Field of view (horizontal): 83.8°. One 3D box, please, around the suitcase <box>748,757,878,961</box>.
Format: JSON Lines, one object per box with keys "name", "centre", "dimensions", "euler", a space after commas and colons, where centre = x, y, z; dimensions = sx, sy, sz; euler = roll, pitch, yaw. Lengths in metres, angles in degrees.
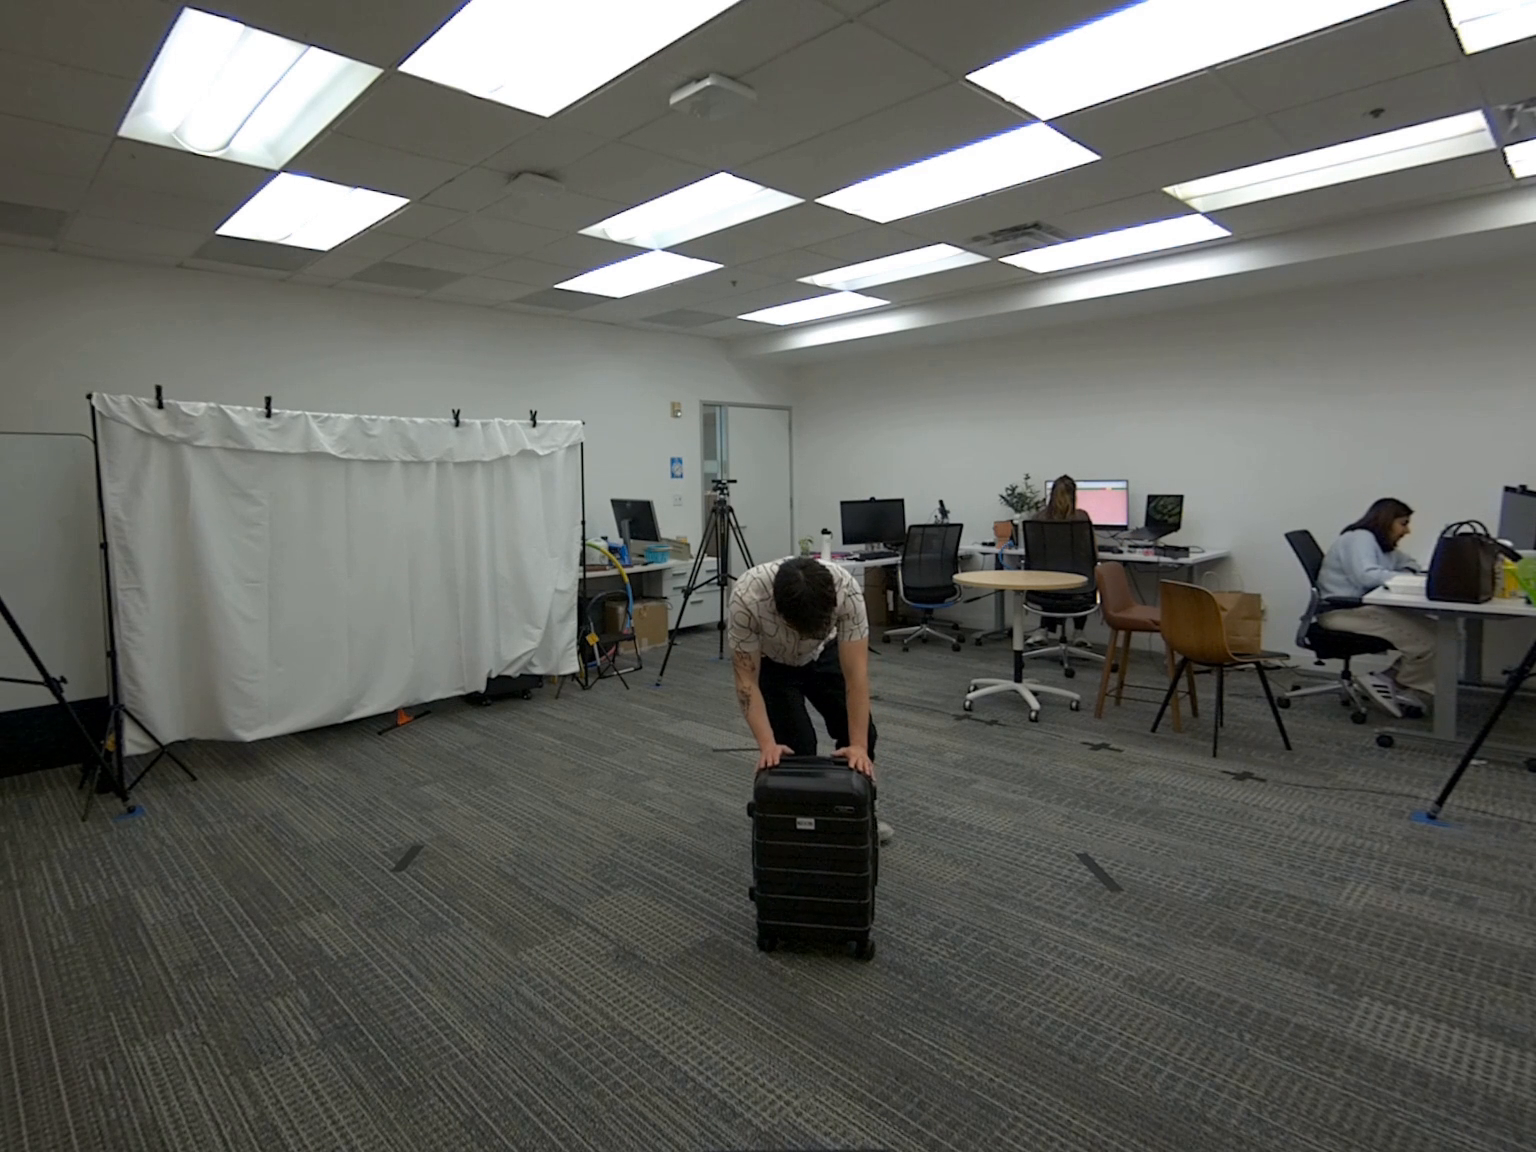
{"name": "suitcase", "centre": [0.146, 0.834, 2.582], "dimensions": [0.380, 0.547, 0.247], "euler": [0, 5, 11]}
